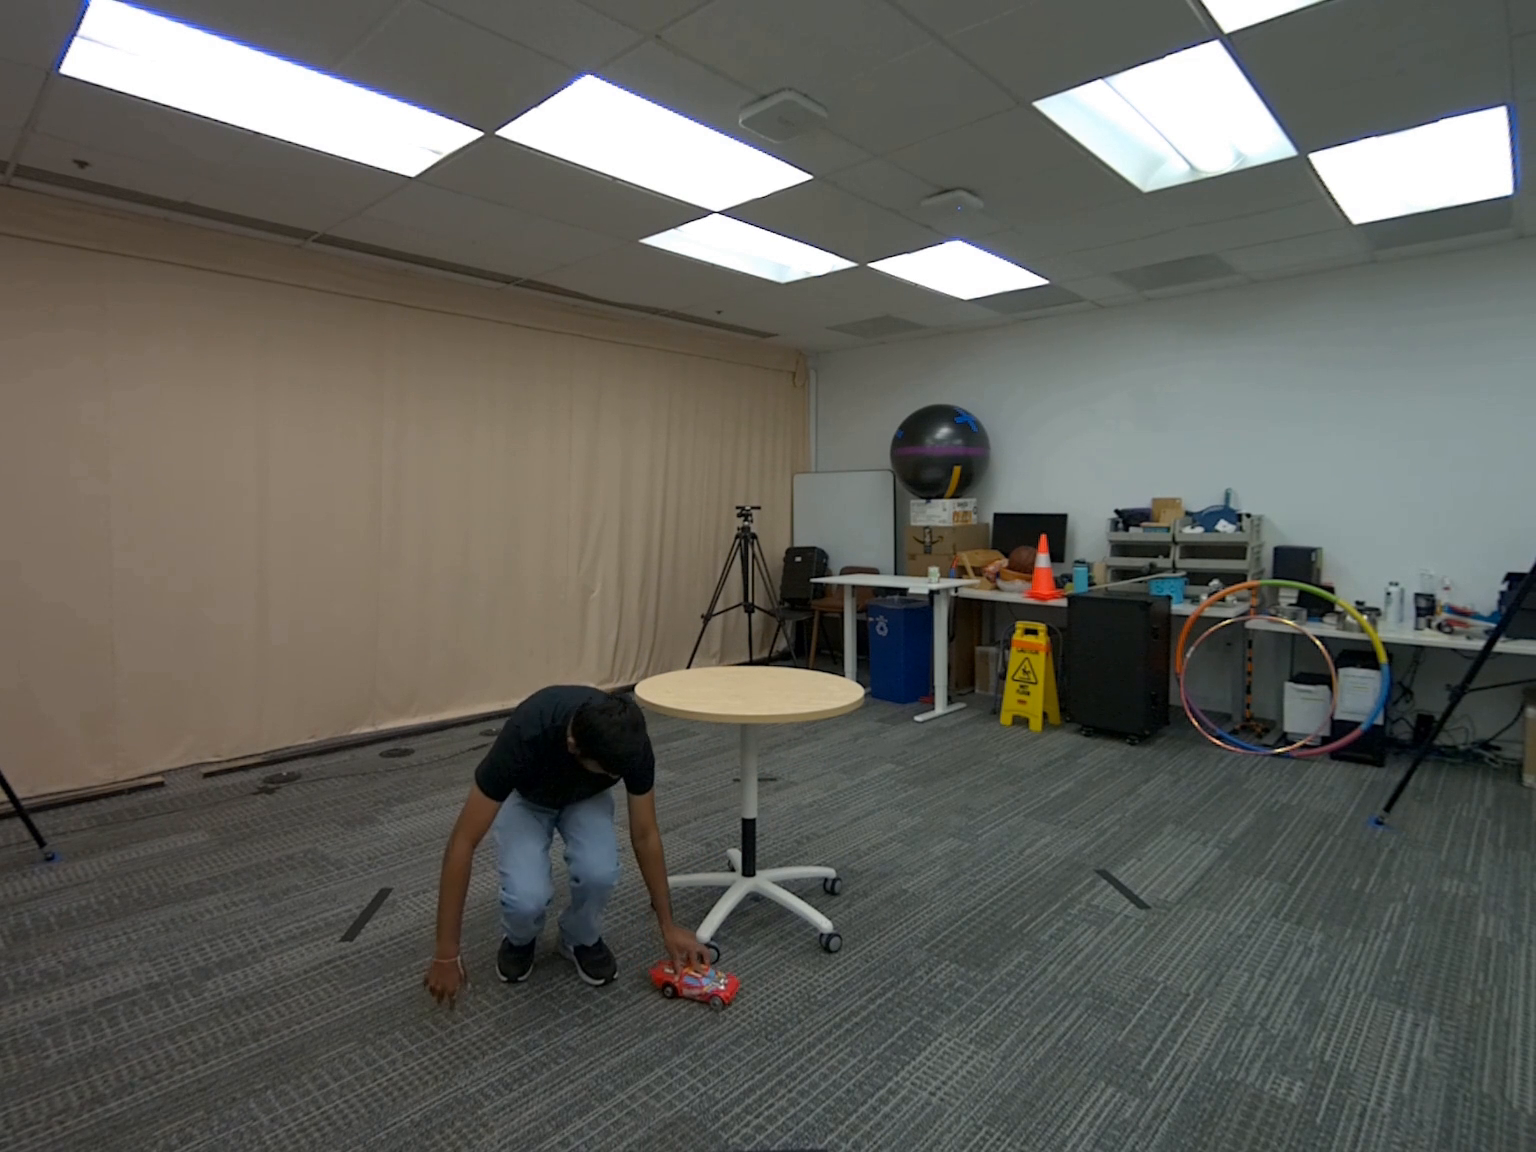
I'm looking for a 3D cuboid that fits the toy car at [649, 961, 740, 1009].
[{"bbox_3d":[-0.211,1.158,2.402,0.260,0.083,0.128,13,10,20],"label":"toy car"}]
